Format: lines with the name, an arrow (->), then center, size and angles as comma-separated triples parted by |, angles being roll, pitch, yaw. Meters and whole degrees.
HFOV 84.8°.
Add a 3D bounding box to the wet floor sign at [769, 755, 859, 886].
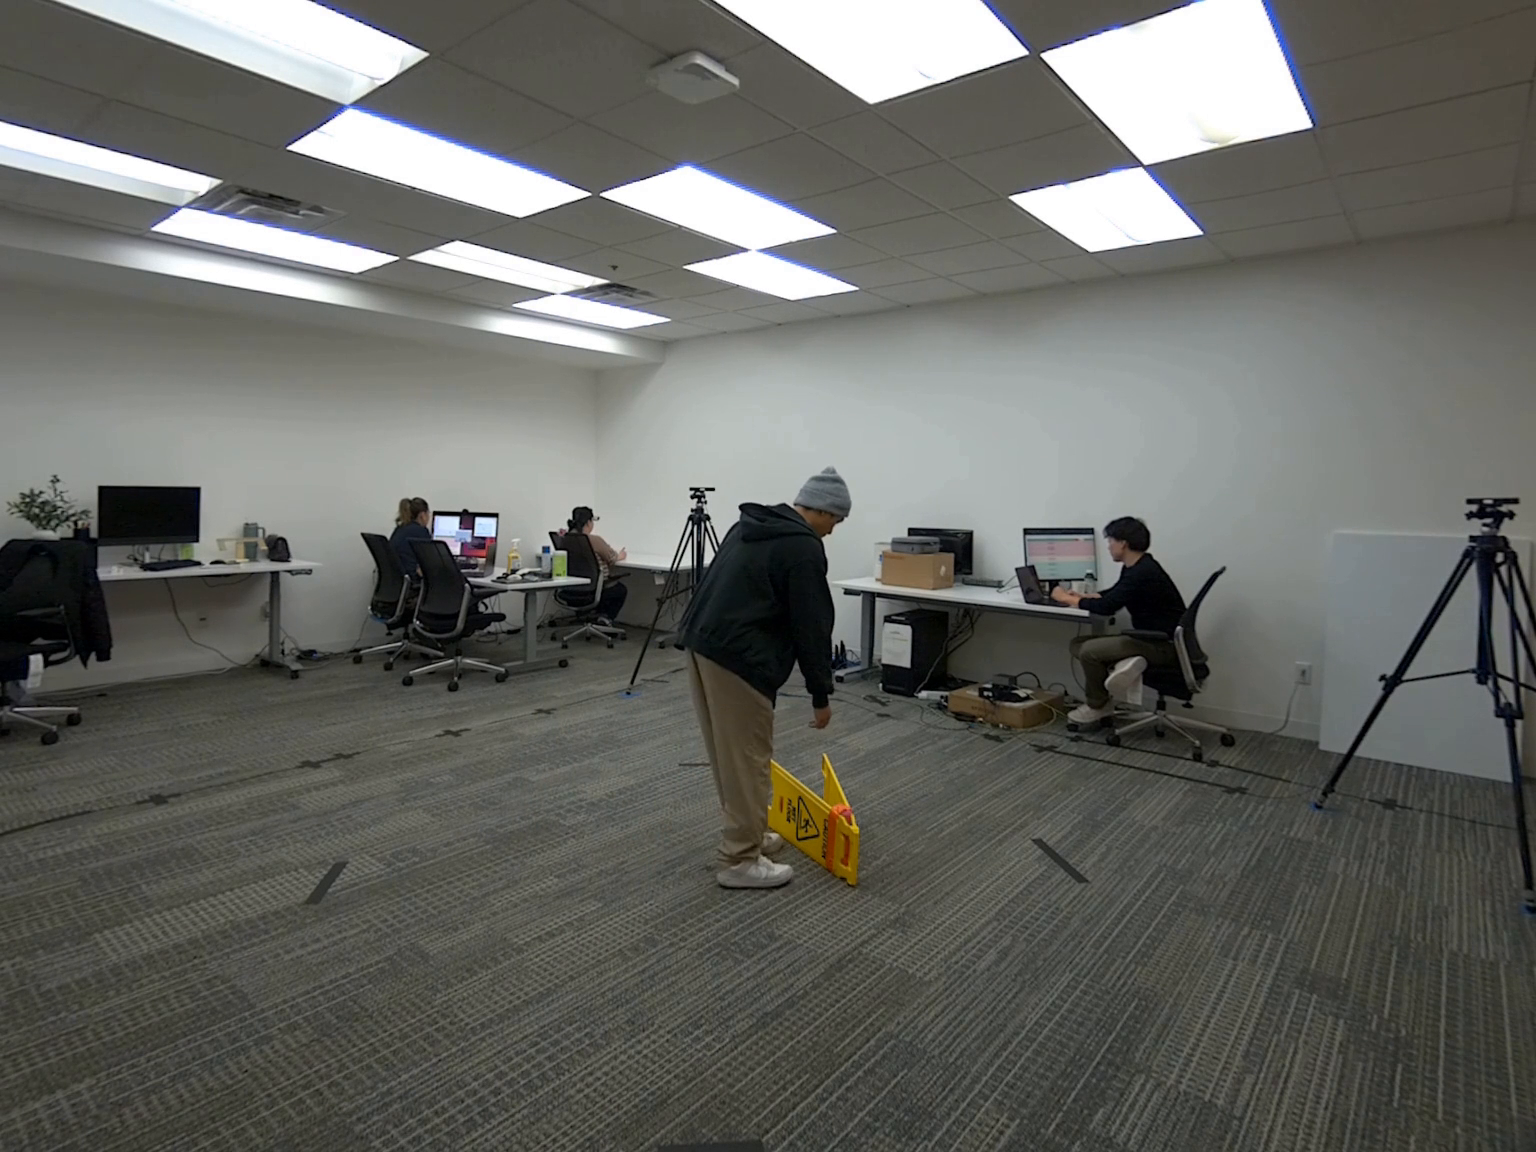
wet floor sign -> 0.206, 0.933, 3.278 | 0.285, 0.280, 0.662 | 0, 8, -18
